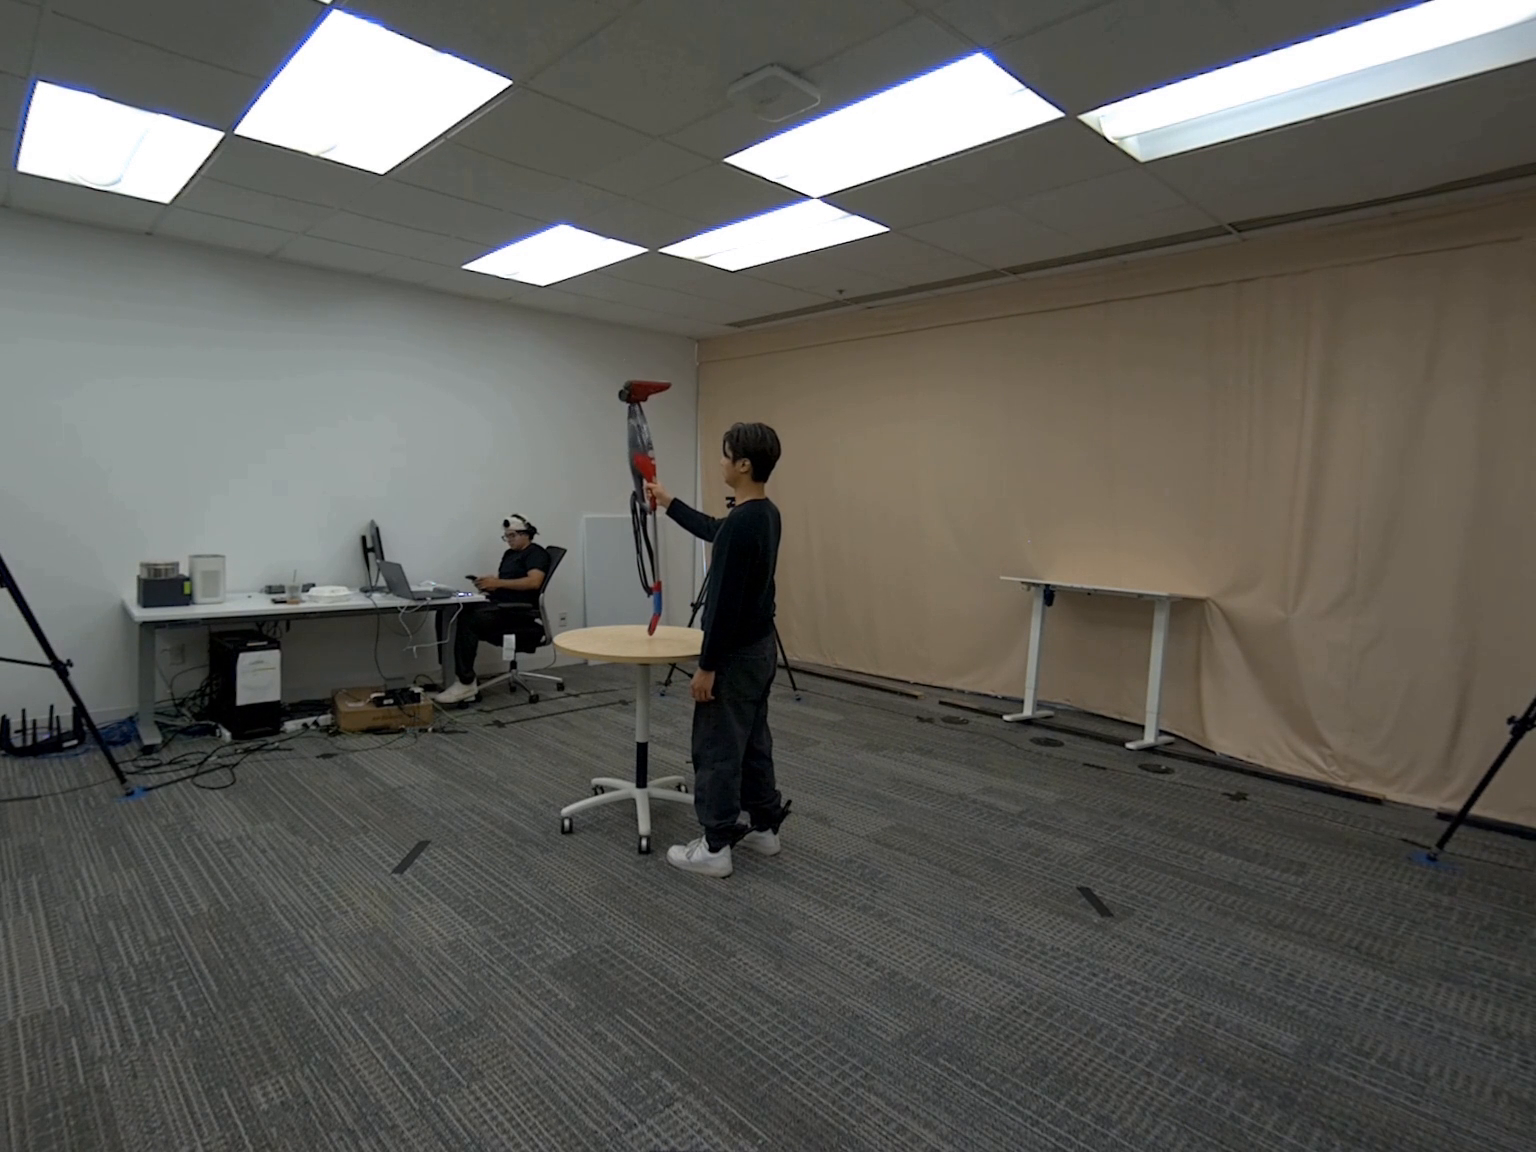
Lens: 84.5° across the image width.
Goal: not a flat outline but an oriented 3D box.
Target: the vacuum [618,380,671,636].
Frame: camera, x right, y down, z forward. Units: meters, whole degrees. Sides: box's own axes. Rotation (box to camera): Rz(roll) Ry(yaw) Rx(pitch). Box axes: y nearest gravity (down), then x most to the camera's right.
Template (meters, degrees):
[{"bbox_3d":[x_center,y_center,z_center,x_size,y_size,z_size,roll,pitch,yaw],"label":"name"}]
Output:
[{"bbox_3d":[-0.535,-0.271,3.566,0.147,1.043,0.248,5,9,36],"label":"vacuum"}]
